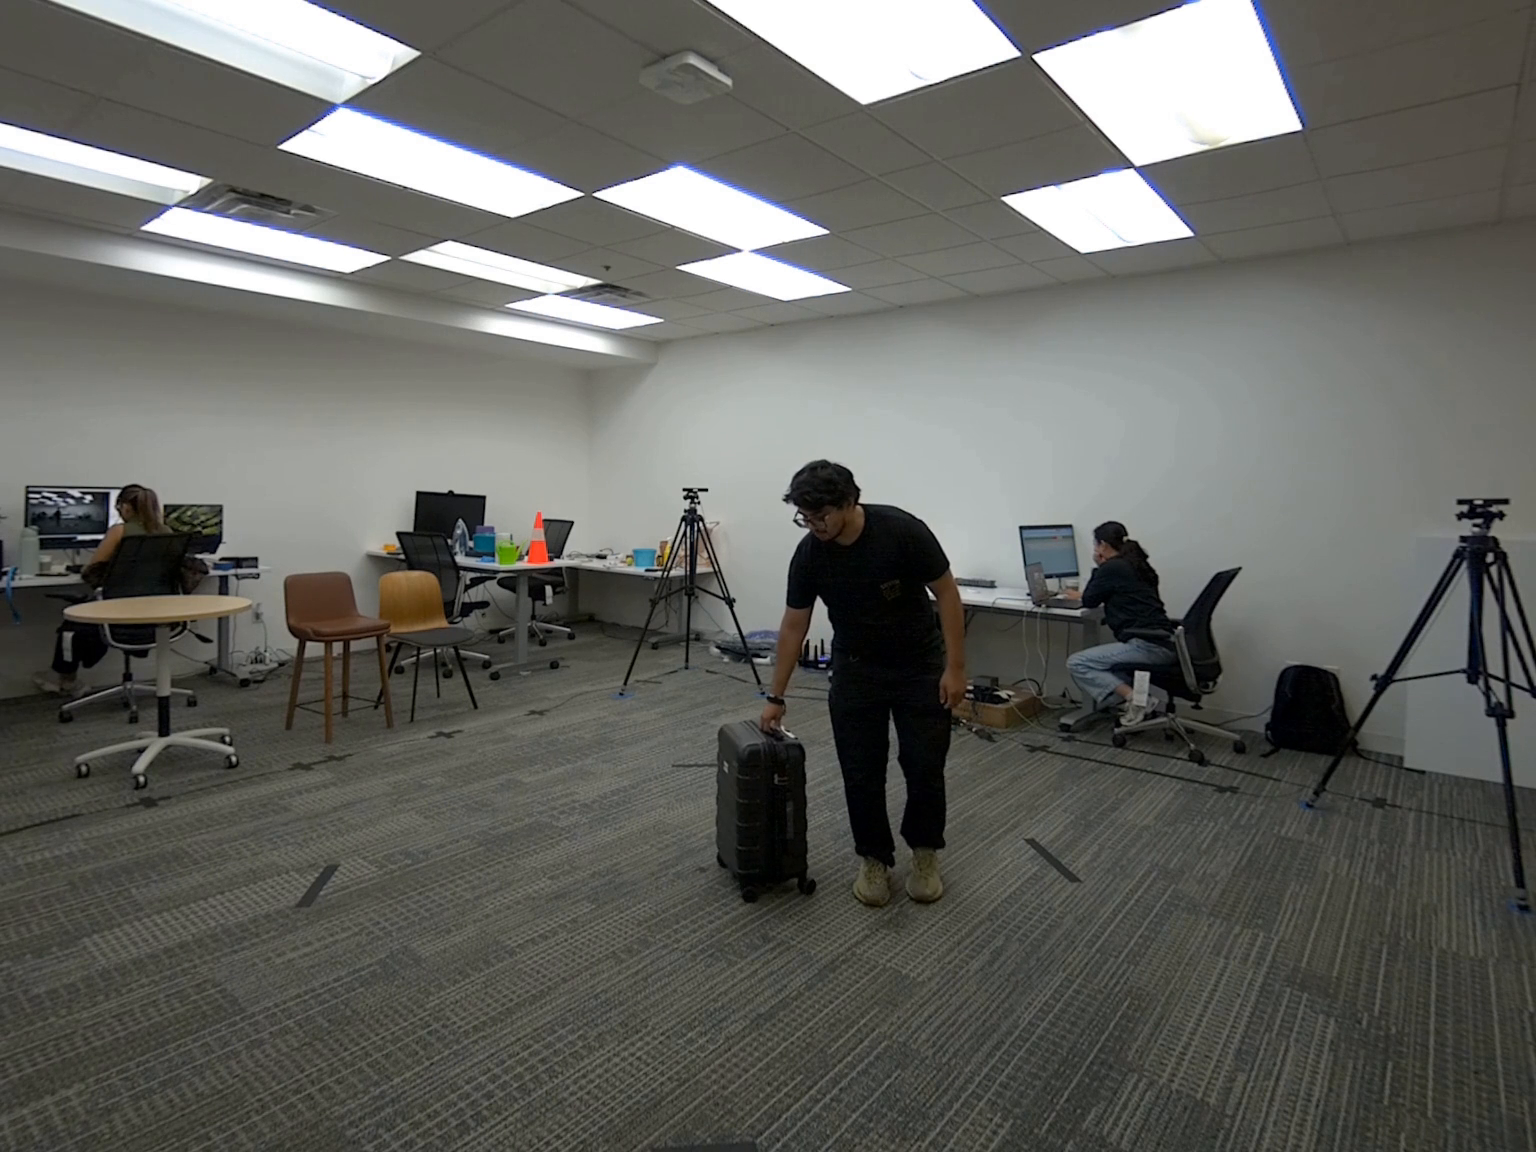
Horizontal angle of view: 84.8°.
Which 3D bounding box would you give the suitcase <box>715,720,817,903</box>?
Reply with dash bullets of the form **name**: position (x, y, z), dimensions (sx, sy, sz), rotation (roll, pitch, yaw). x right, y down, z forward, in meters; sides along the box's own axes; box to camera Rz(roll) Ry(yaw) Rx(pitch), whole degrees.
- **suitcase**: position (-0.036, 0.805, 3.034), dimensions (0.244, 0.548, 0.384), rotation (-3, 4, -21)
